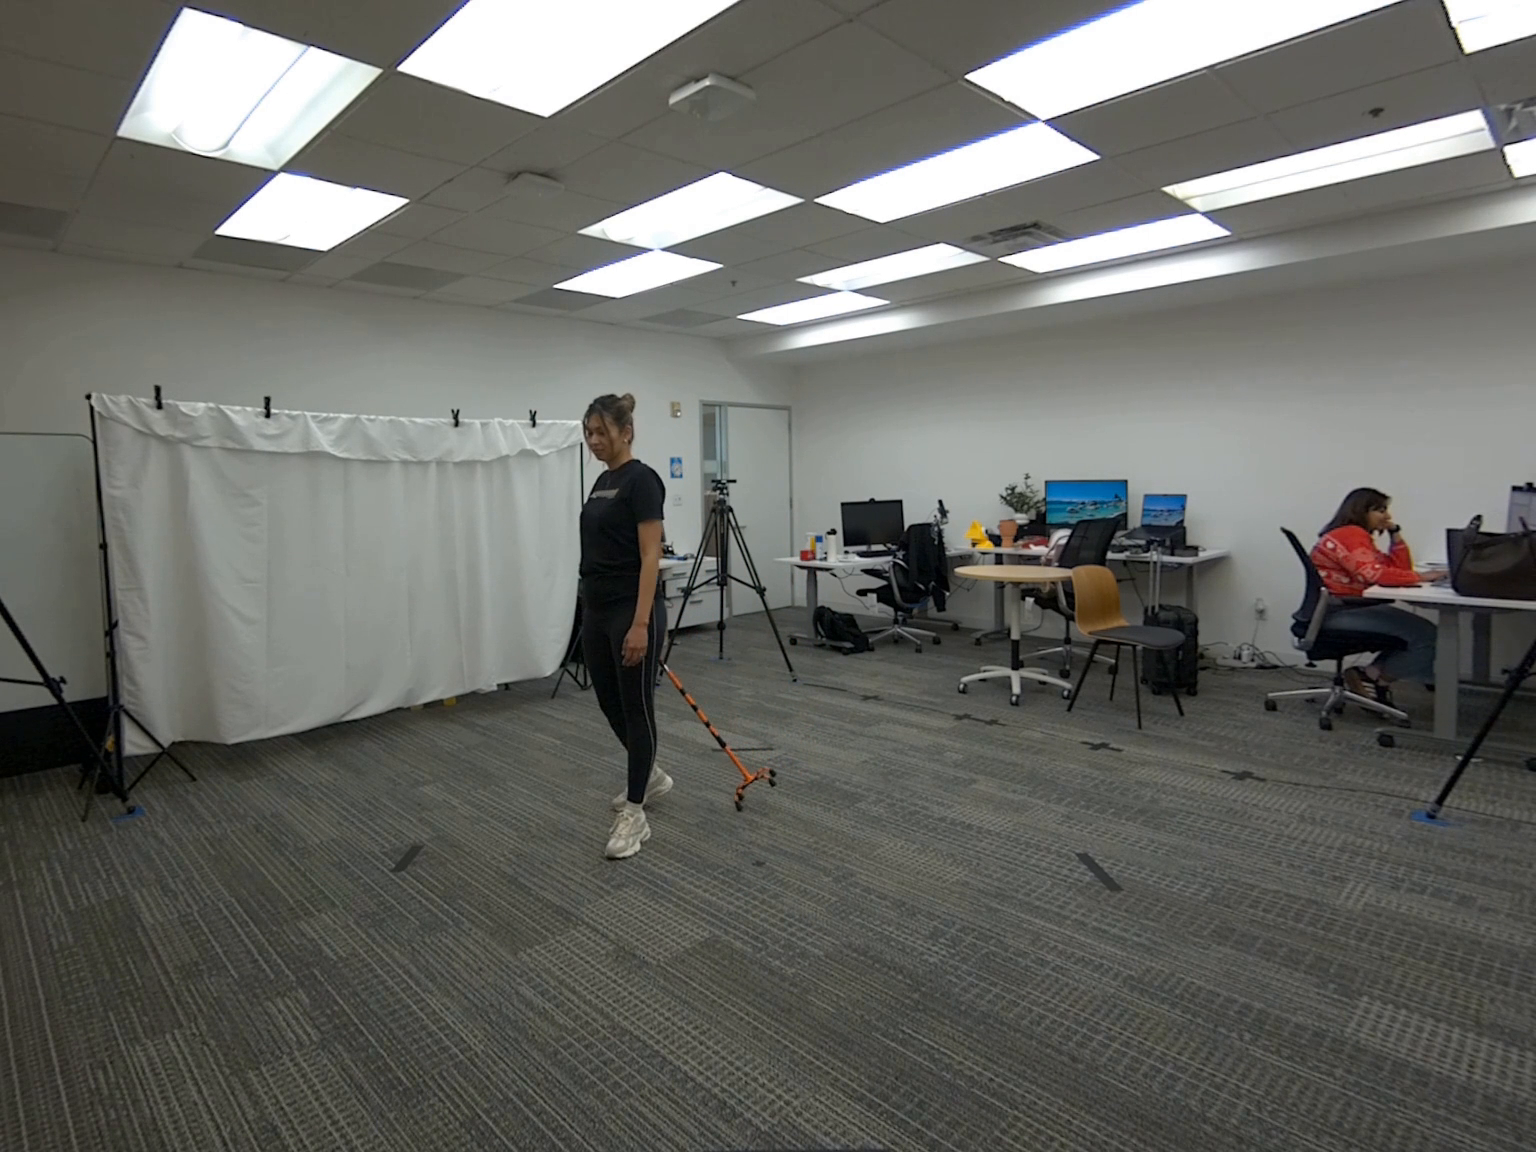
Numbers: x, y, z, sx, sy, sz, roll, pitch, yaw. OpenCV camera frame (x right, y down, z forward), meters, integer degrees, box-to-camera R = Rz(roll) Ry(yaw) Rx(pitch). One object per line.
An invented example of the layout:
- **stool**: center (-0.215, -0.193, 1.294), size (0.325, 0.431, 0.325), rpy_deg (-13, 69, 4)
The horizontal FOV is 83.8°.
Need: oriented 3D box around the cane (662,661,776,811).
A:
- **cane**: center (-0.310, 0.562, 3.664), size (0.206, 0.910, 0.151), rpy_deg (-36, -1, 2)
